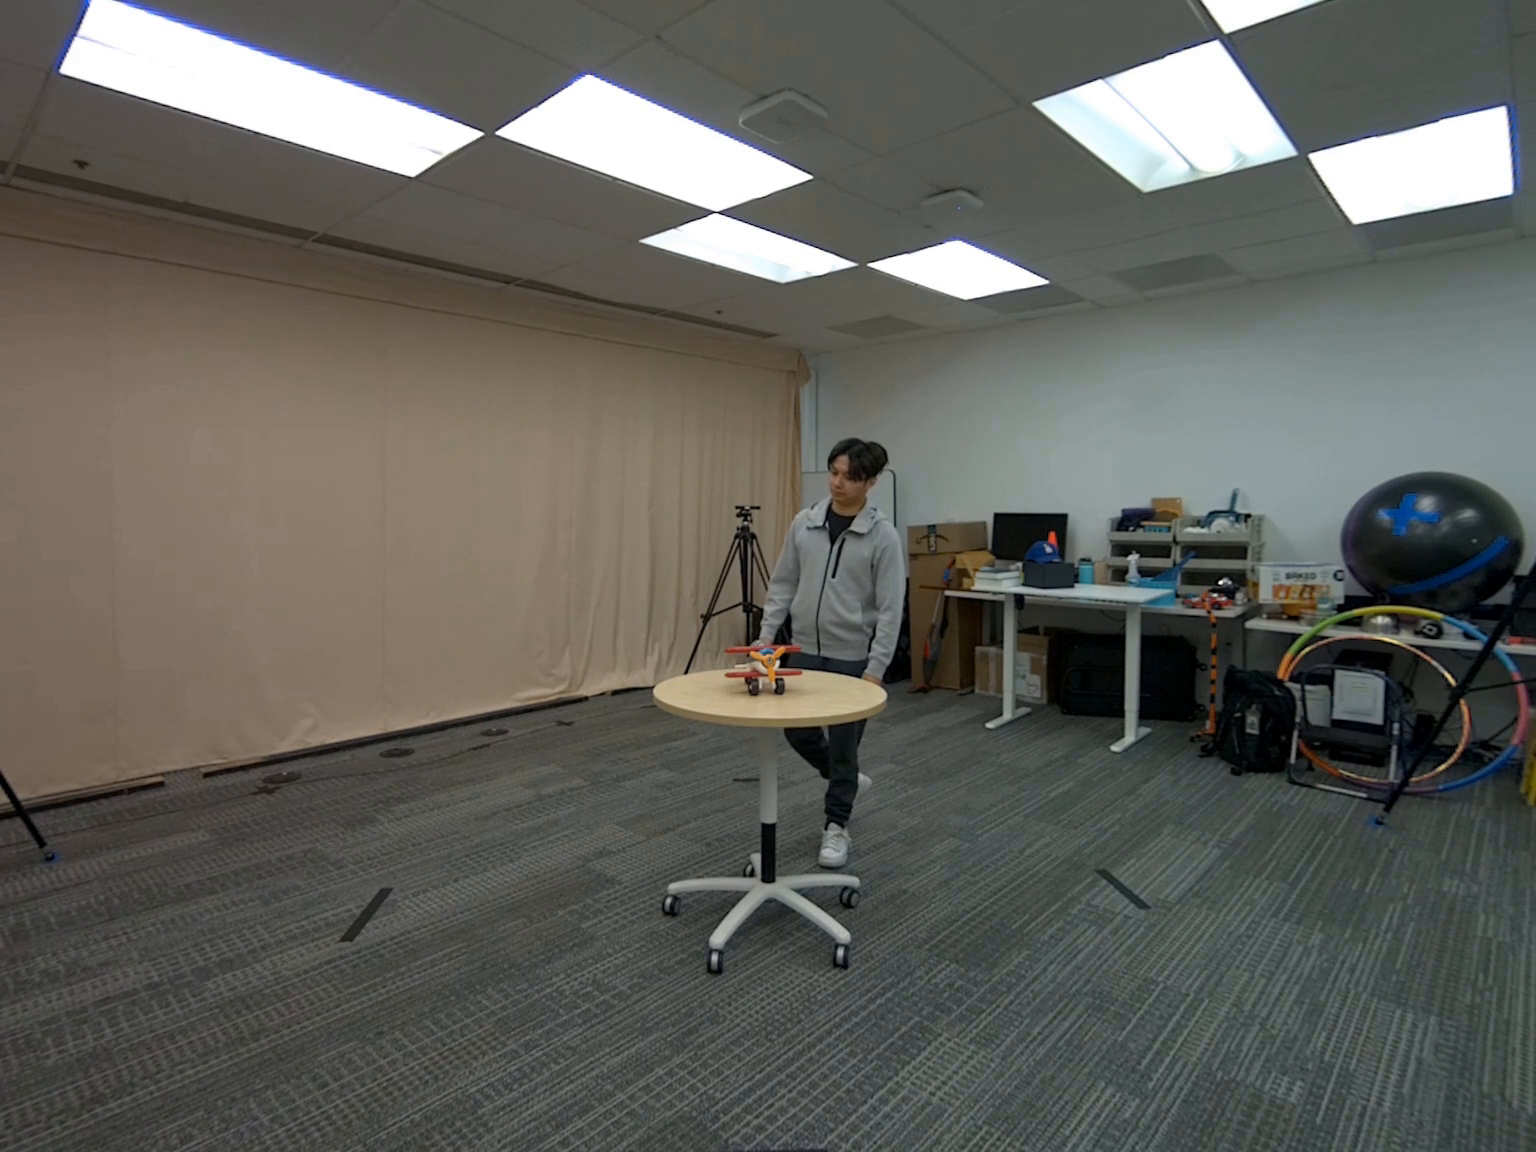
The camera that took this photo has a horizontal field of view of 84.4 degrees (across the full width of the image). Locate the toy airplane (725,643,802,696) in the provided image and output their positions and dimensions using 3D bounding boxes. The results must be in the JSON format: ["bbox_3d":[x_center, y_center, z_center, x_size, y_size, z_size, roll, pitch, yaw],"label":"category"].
[{"bbox_3d":[-0.043,0.298,2.784,0.243,0.156,0.268,-5,6,-40],"label":"toy airplane"}]
